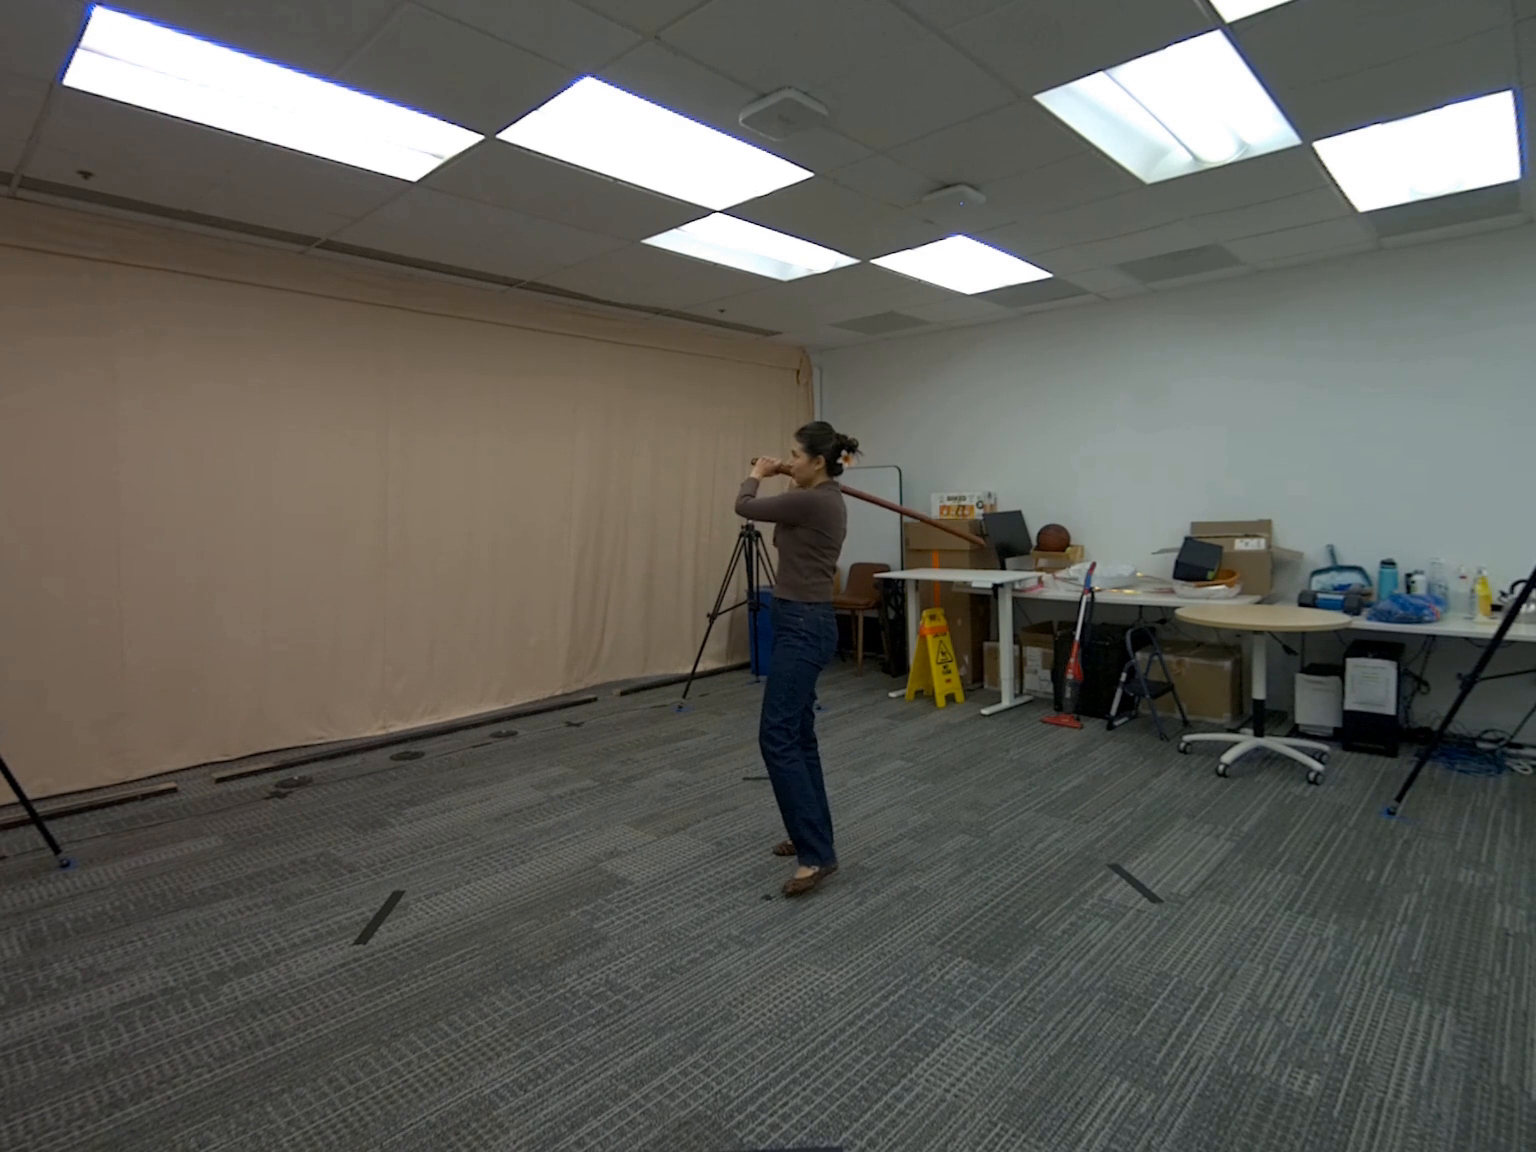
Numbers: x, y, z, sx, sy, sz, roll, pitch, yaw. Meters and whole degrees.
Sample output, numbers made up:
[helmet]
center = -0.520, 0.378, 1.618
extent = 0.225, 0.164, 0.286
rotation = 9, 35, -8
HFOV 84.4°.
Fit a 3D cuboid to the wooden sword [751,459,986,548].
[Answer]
[wooden sword]
center = 0.440, -0.321, 3.485
extent = 1.031, 0.024, 0.051
rotation = 20, 36, 5
